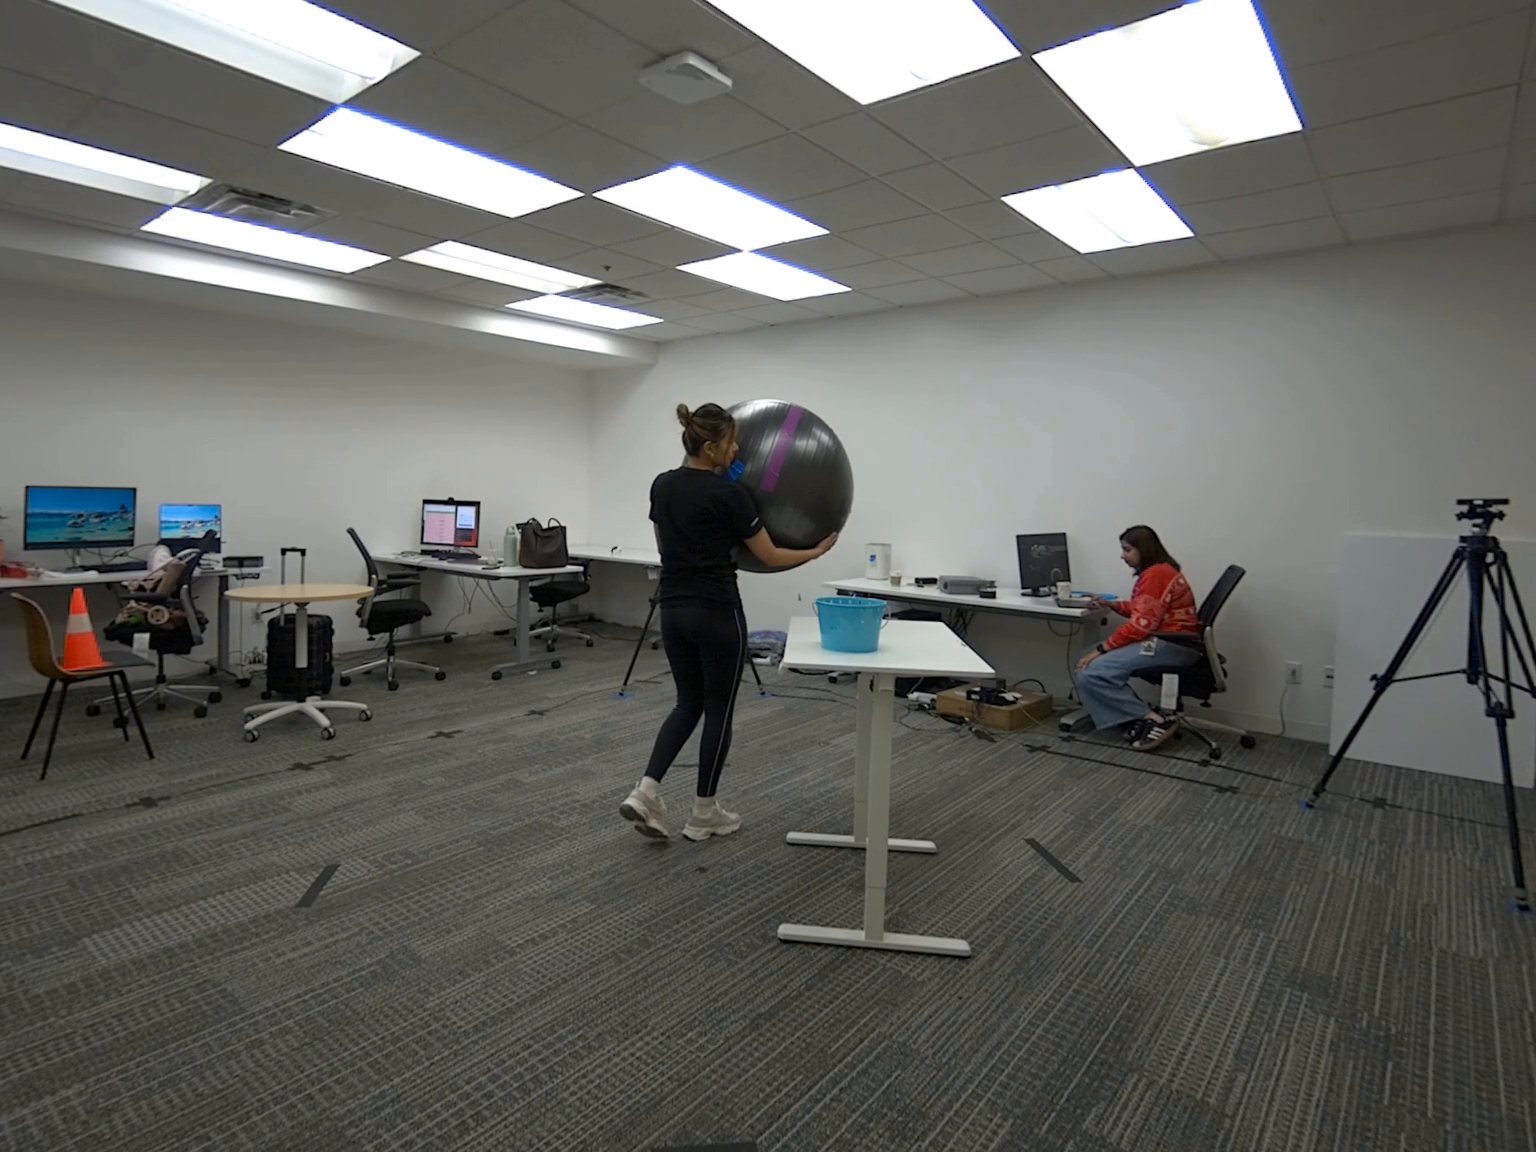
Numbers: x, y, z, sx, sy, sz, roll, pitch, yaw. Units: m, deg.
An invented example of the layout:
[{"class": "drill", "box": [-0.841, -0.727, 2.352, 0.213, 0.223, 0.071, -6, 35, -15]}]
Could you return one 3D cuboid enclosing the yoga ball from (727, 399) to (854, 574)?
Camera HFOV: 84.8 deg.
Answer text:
[{"class": "yoga ball", "box": [-0.015, -0.391, 3.714, 0.757, 0.756, 0.762, 1, 4, -2]}]
